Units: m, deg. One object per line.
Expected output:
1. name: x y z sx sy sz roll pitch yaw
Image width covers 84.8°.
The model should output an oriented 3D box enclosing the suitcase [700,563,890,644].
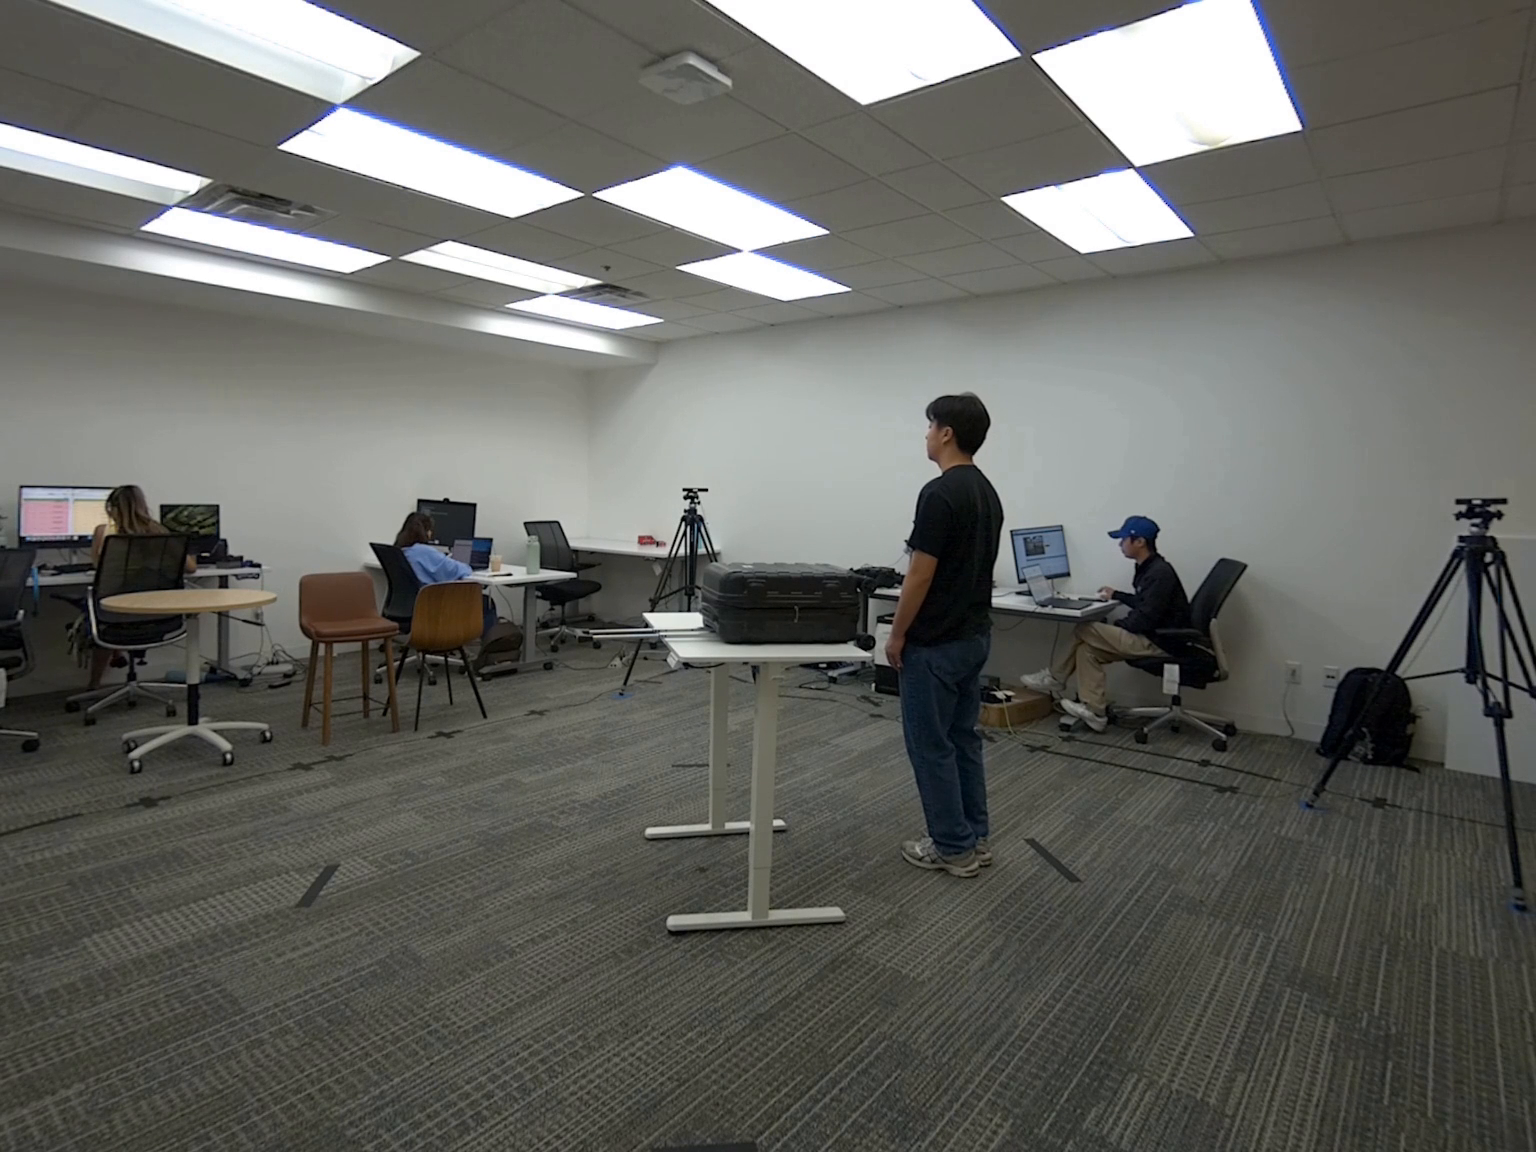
1. suitcase: -0.154 0.082 2.890 0.964 0.256 0.391 2 5 -14
